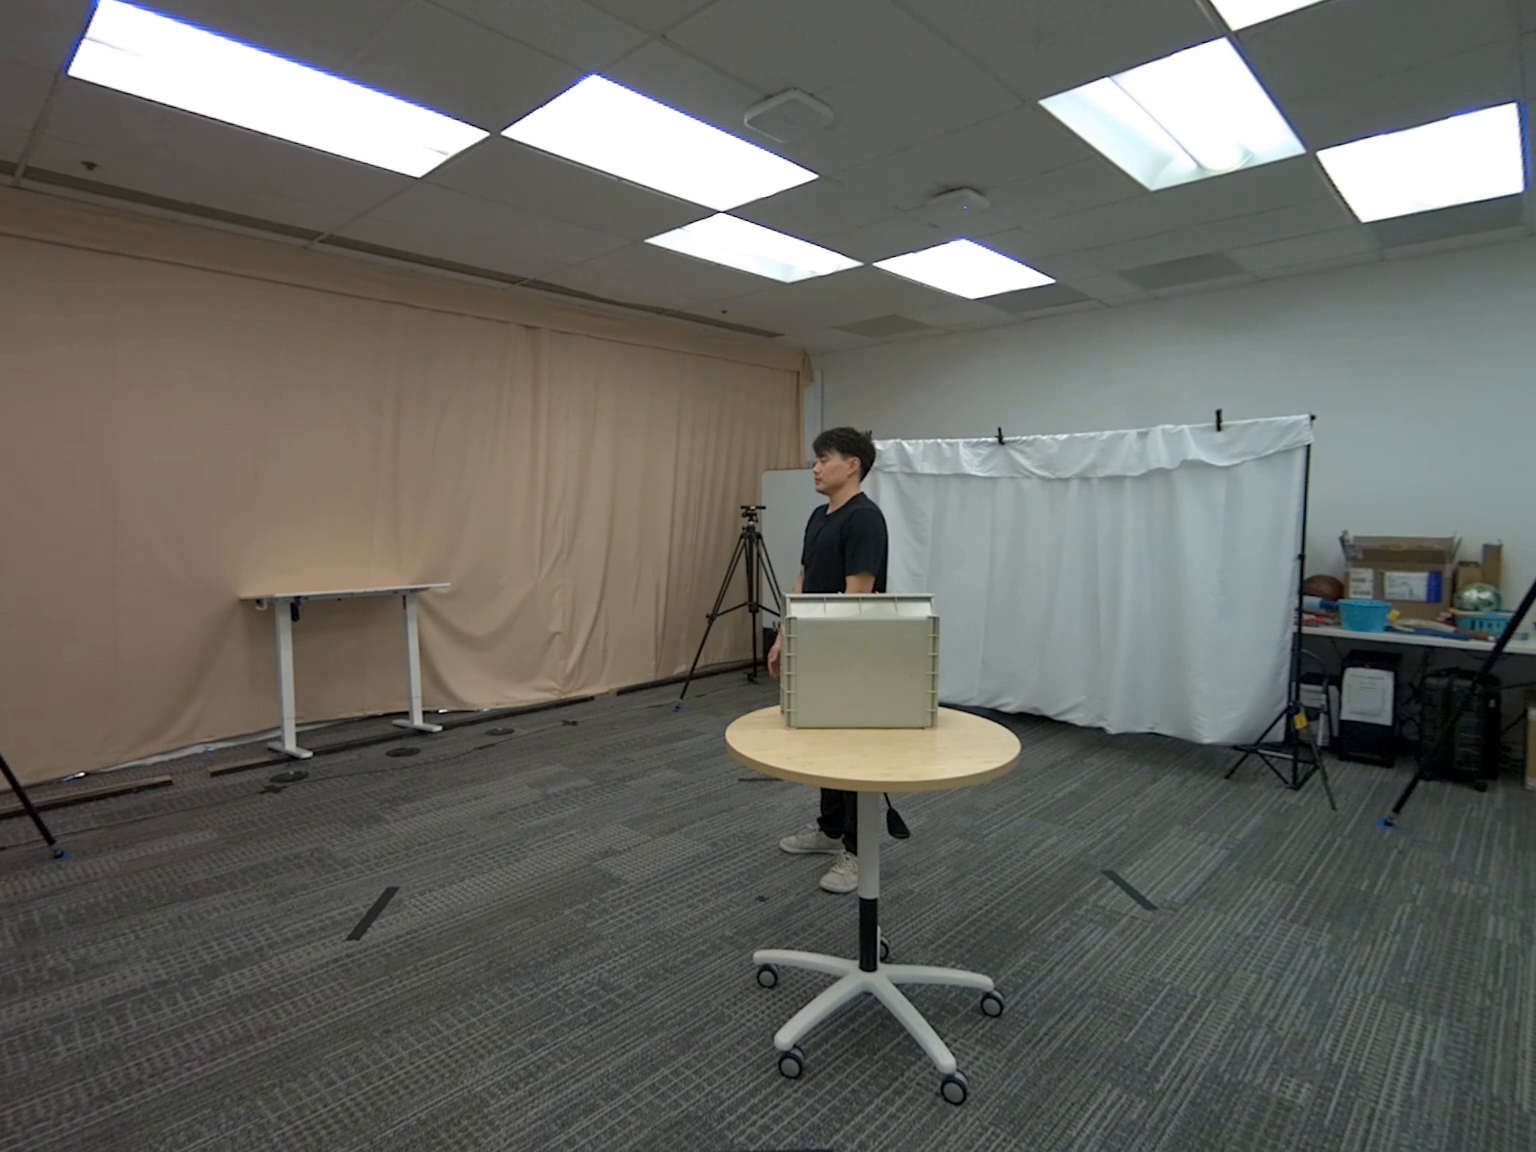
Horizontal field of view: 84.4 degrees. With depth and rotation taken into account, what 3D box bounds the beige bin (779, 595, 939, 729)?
[{"bbox_3d":[0.250,0.227,2.359,0.423,0.375,0.189,0,7,1],"label":"beige bin"}]
